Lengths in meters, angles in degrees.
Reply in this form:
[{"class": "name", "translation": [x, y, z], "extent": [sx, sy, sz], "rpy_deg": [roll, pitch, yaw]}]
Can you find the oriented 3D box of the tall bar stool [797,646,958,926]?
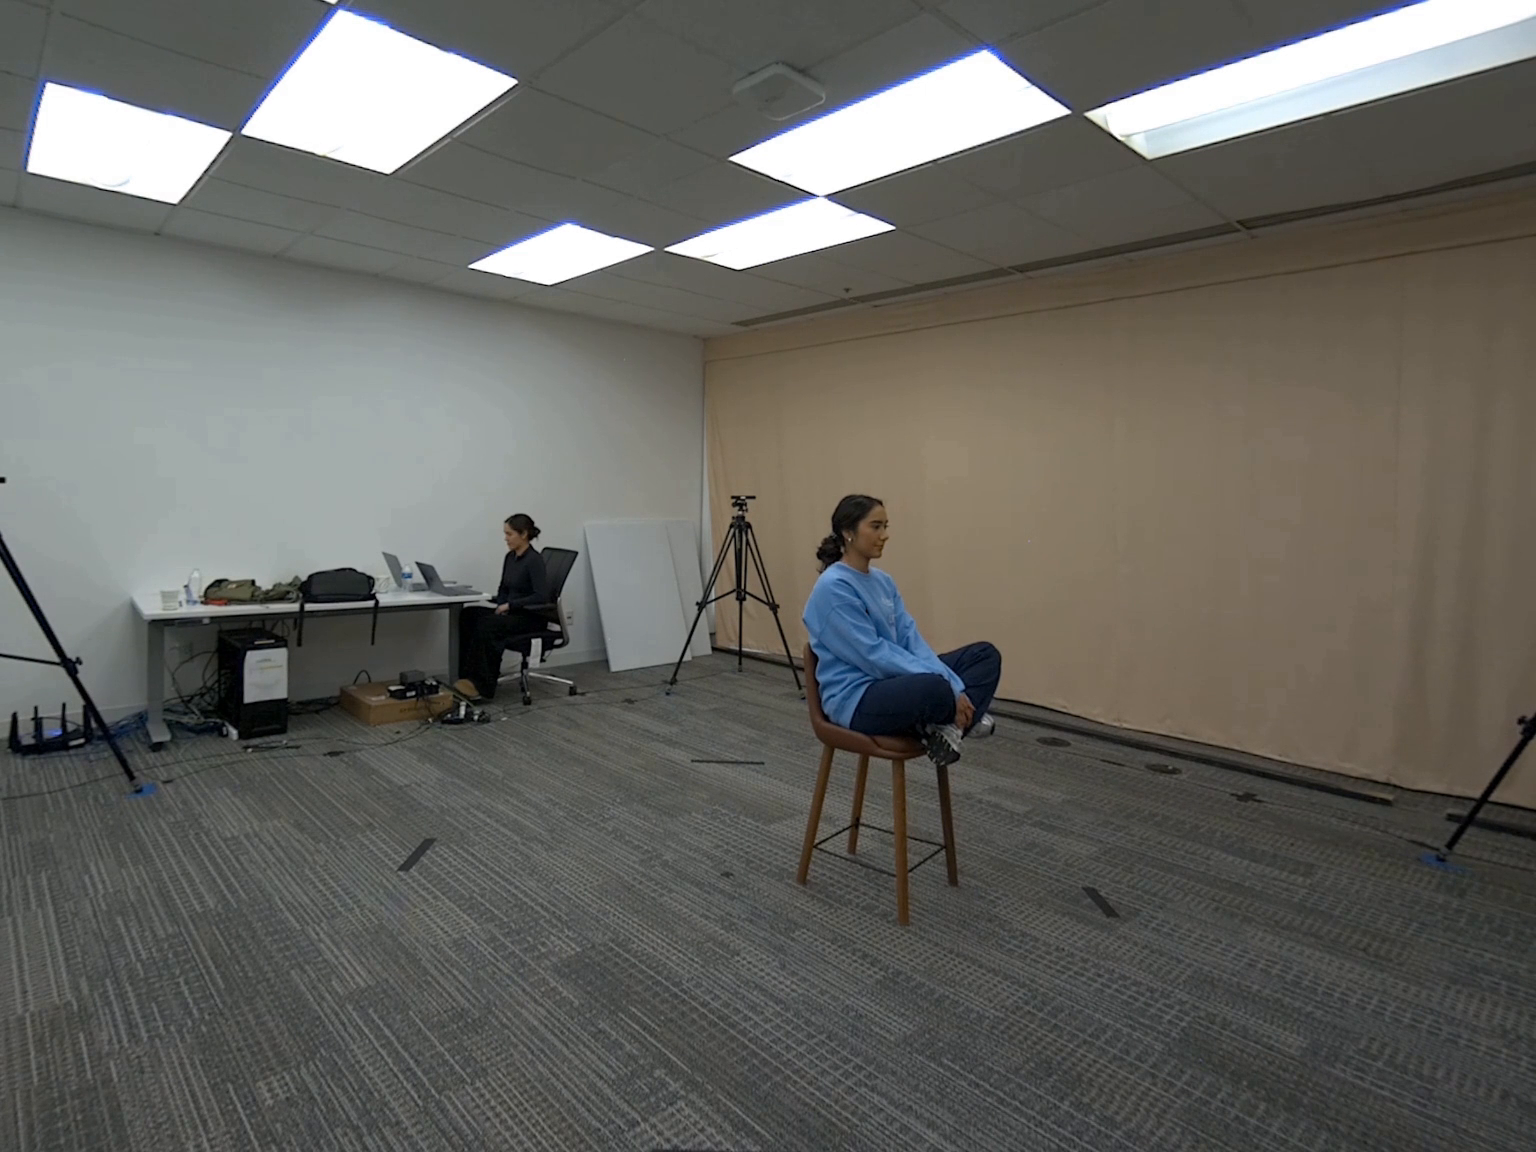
[{"class": "tall bar stool", "translation": [0.393, 0.687, 3.034], "extent": [0.479, 0.888, 0.446], "rpy_deg": [2, 2, 39]}]
